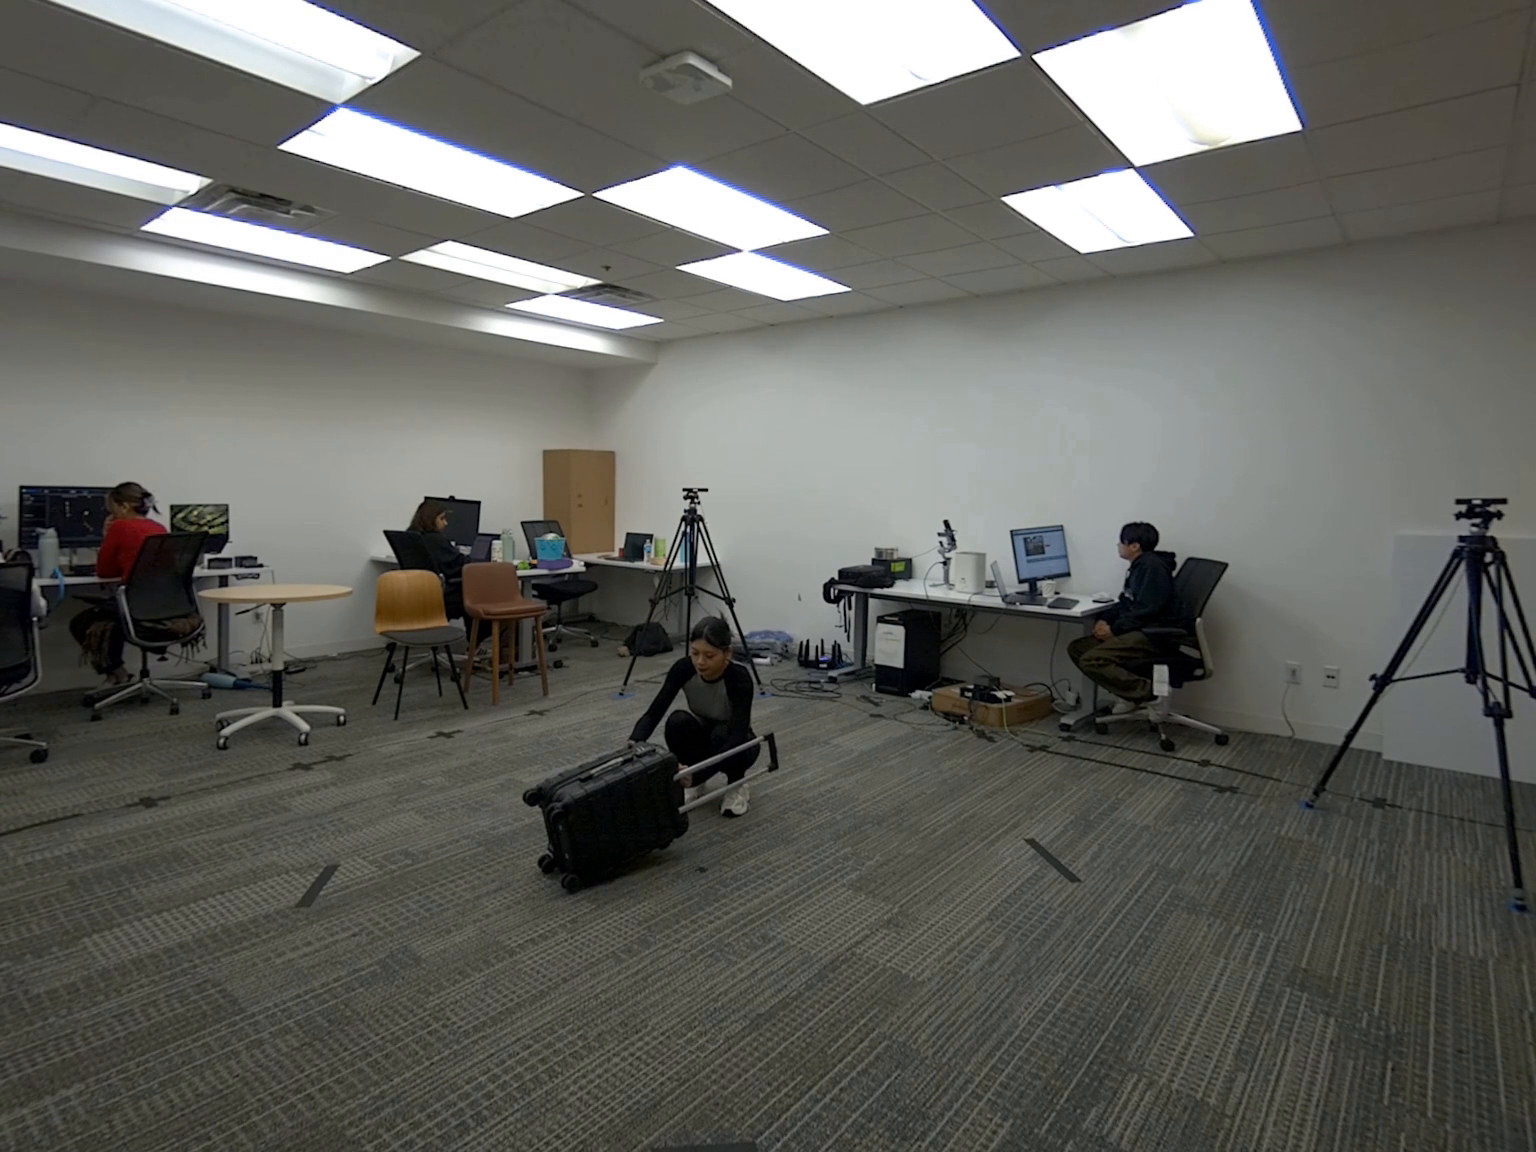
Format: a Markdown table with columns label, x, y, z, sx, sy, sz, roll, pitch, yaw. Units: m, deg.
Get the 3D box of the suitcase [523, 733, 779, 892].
| label | x | y | z | sx | sy | sz | roll | pitch | yaw |
| --- | --- | --- | --- | --- | --- | --- | --- | --- | --- |
| suitcase | -0.432 | 0.803 | 3.227 | 0.957 | 0.381 | 0.265 | -17 | 11 | -38 |
